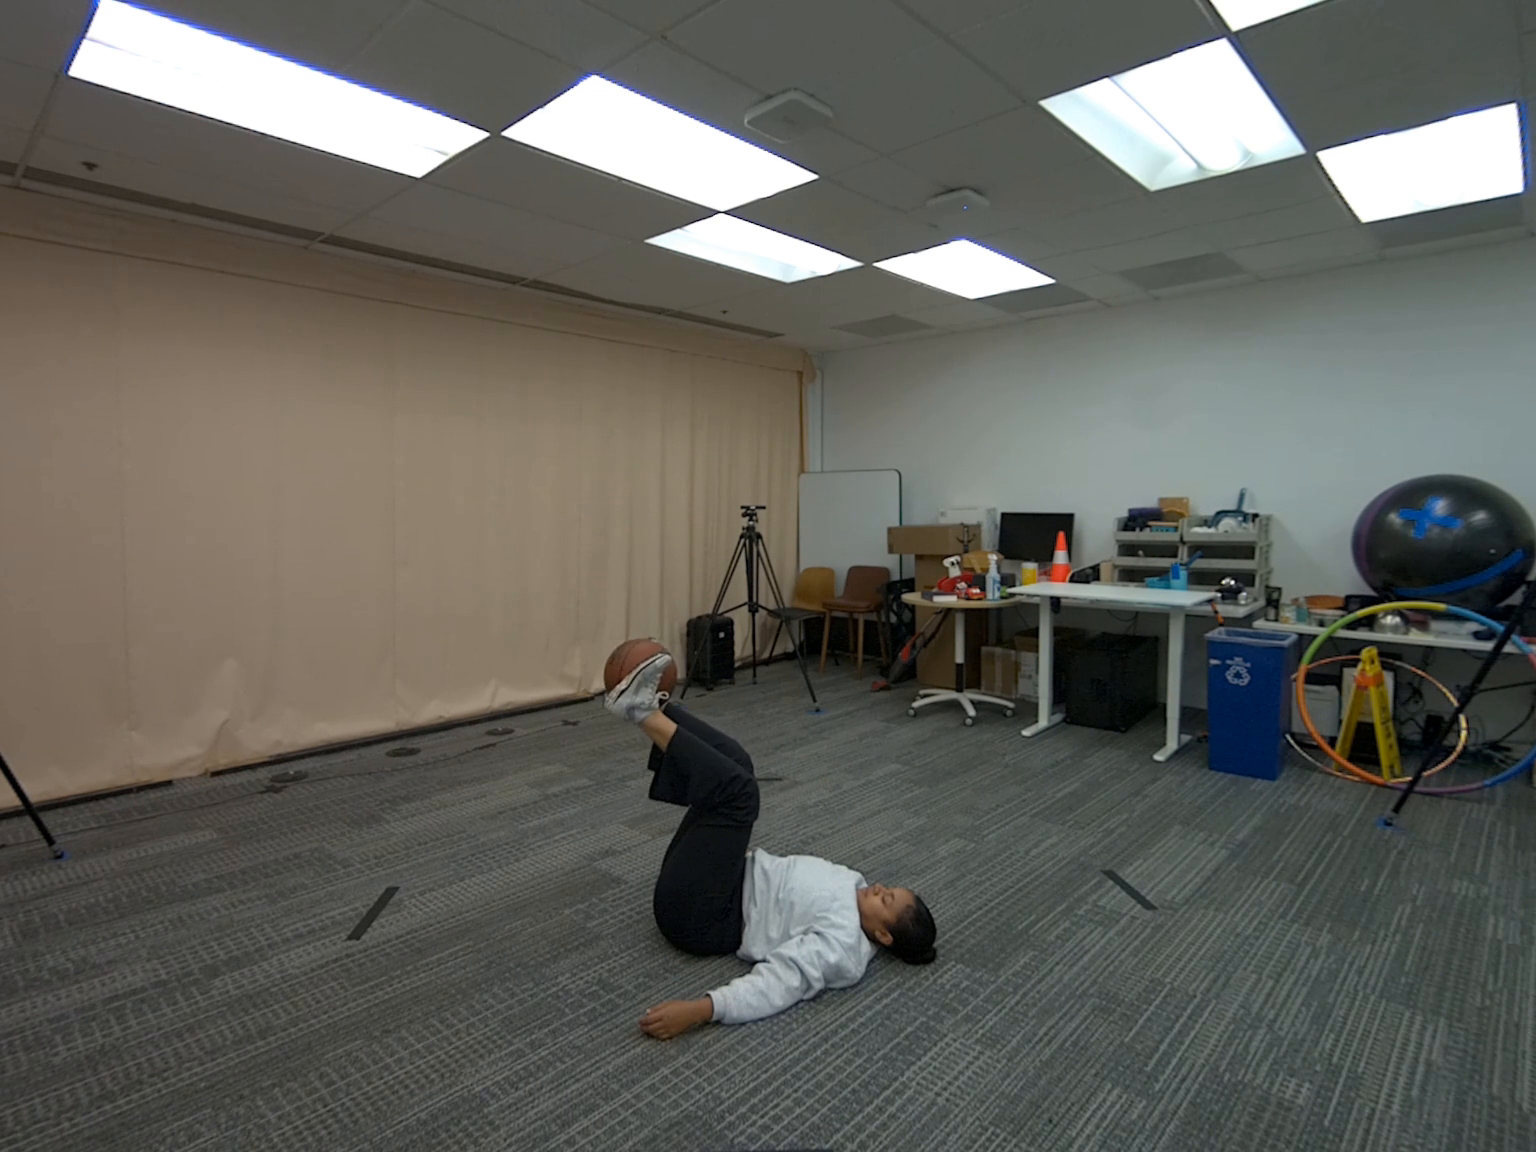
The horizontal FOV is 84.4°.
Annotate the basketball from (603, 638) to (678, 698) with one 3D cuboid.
[{"bbox_3d":[-0.409,0.331,2.731,0.236,0.236,0.236,2,0,-2],"label":"basketball"}]
